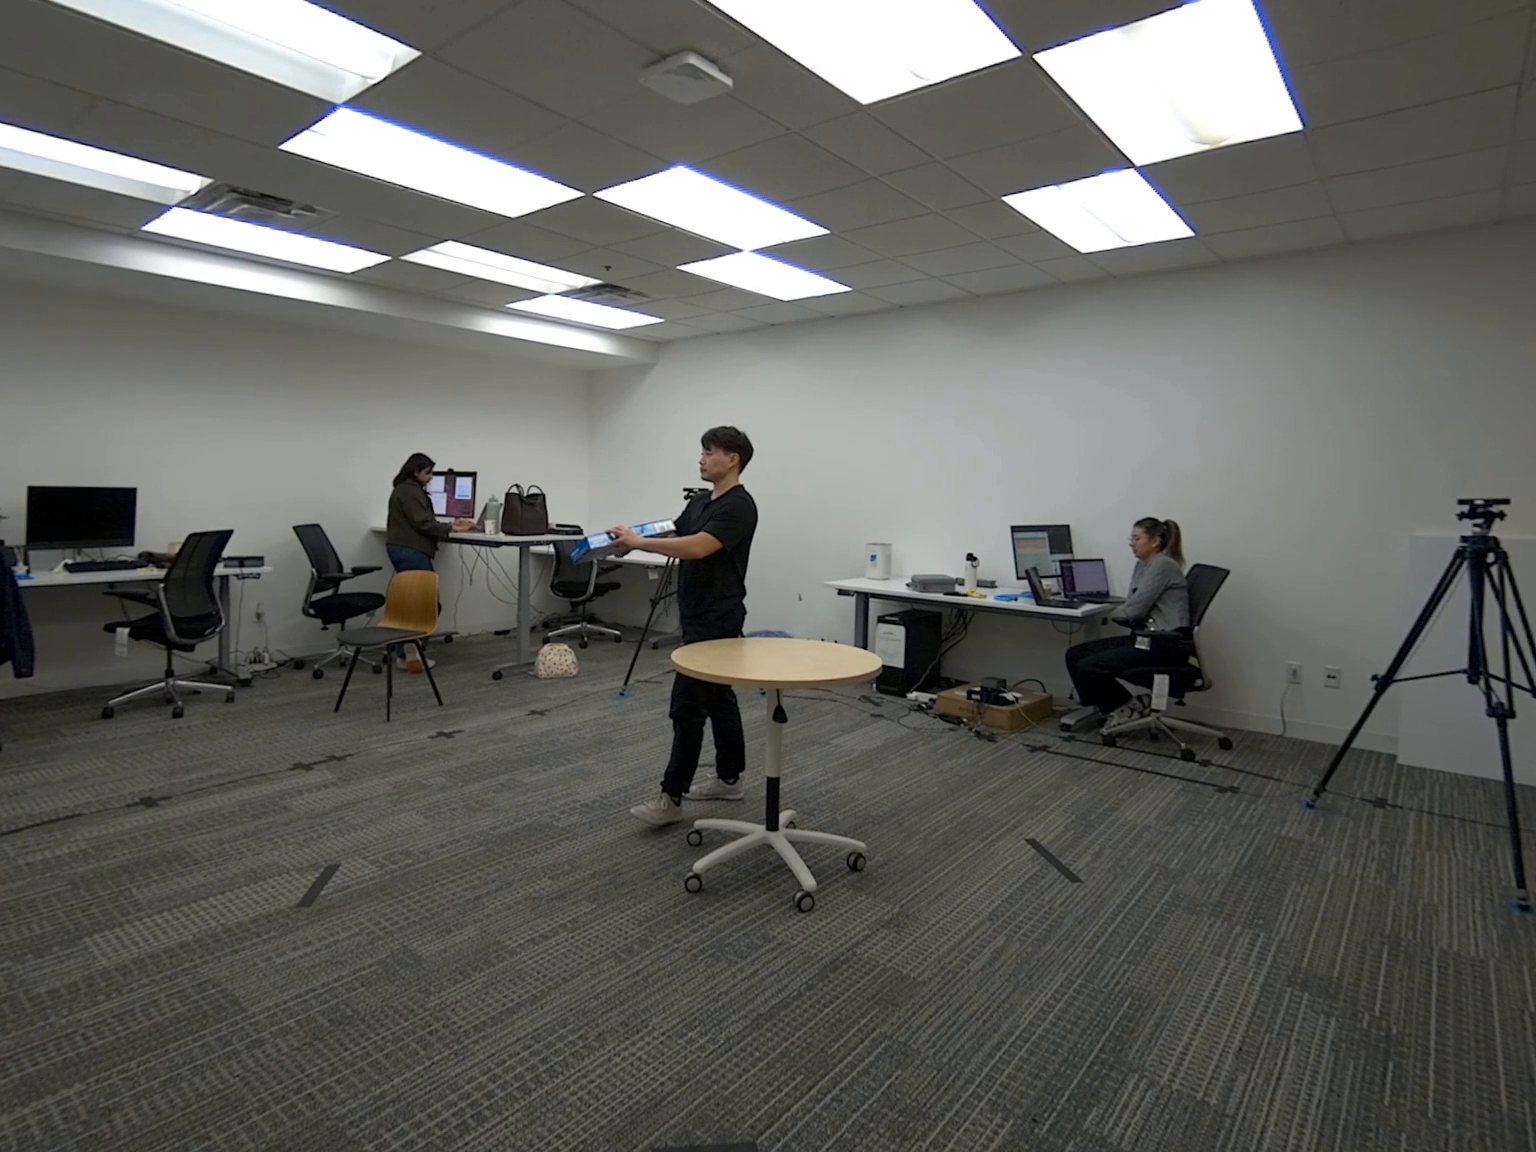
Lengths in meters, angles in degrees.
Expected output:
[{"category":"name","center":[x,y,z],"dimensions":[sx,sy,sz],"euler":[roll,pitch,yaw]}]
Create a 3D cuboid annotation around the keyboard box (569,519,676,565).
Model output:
[{"category":"keyboard box","center":[-0.634,-0.153,3.610],"dimensions":[0.427,0.060,0.177],"euler":[-16,-12,-39]}]
